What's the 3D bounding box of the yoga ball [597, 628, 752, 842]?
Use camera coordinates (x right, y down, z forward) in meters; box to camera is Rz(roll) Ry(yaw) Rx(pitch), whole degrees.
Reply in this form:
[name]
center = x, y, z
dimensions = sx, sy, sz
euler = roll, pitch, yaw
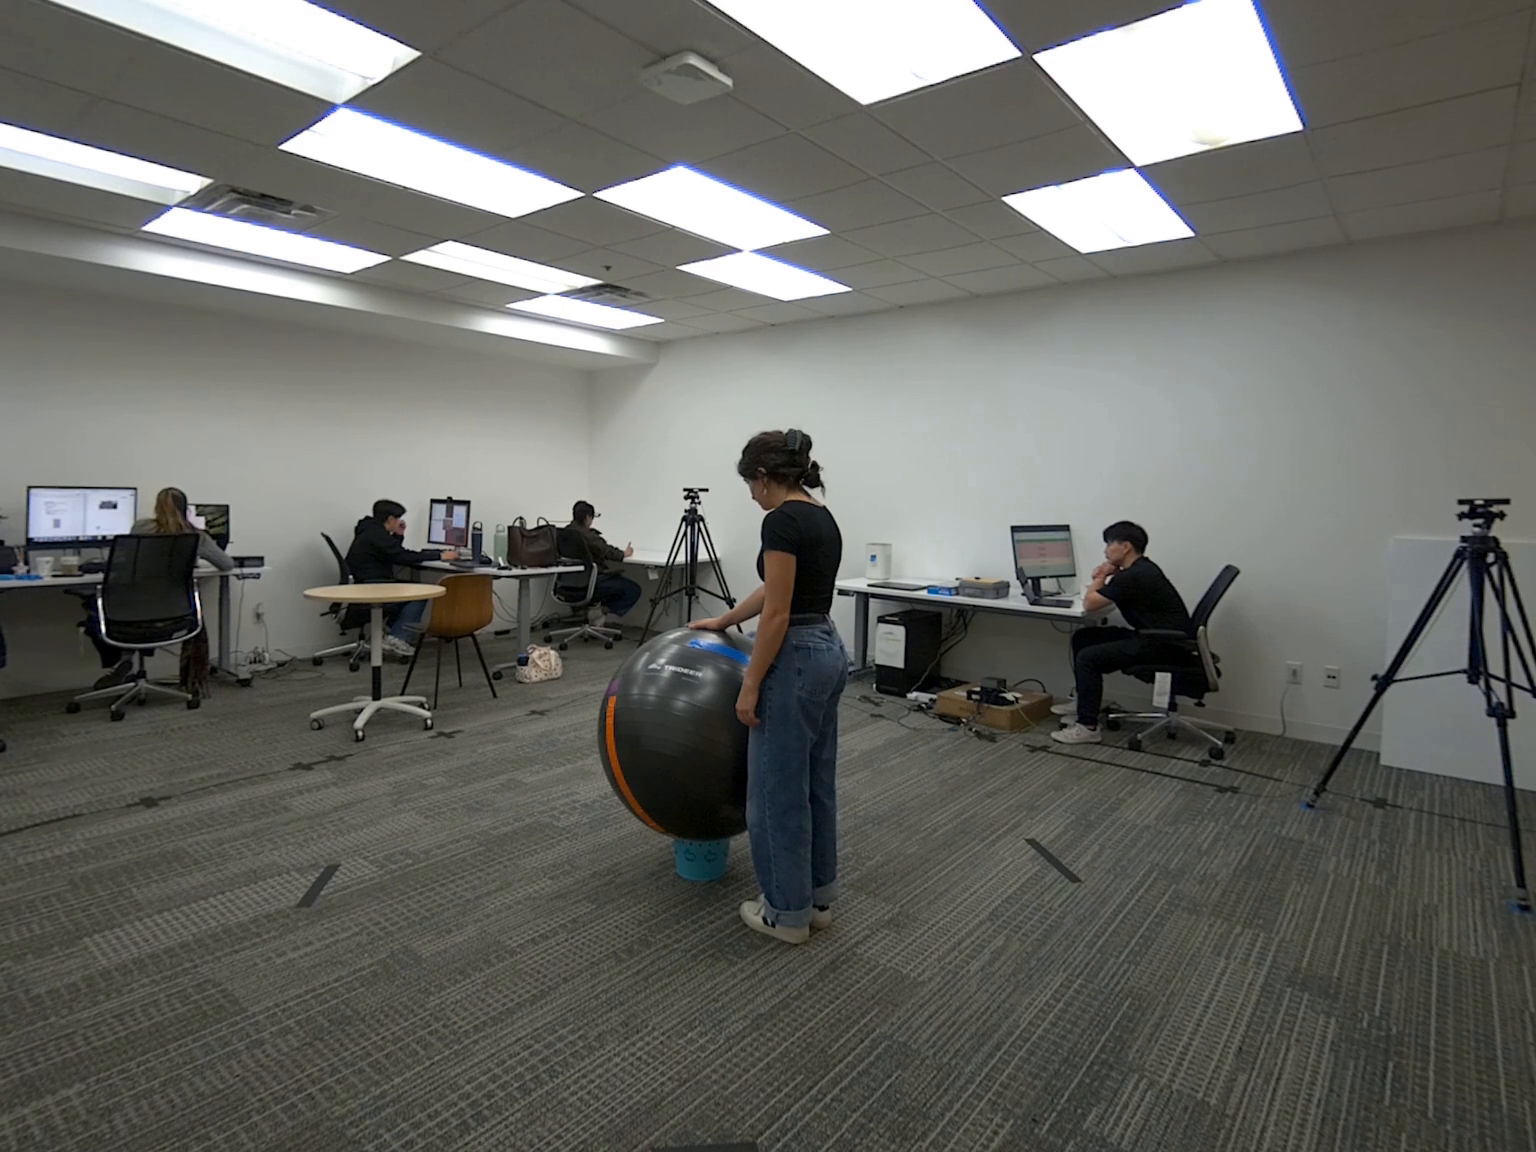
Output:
[yoga ball]
center = -0.246, 0.560, 3.092
dimensions = 0.757, 0.756, 0.762
euler = 1, 4, -2
